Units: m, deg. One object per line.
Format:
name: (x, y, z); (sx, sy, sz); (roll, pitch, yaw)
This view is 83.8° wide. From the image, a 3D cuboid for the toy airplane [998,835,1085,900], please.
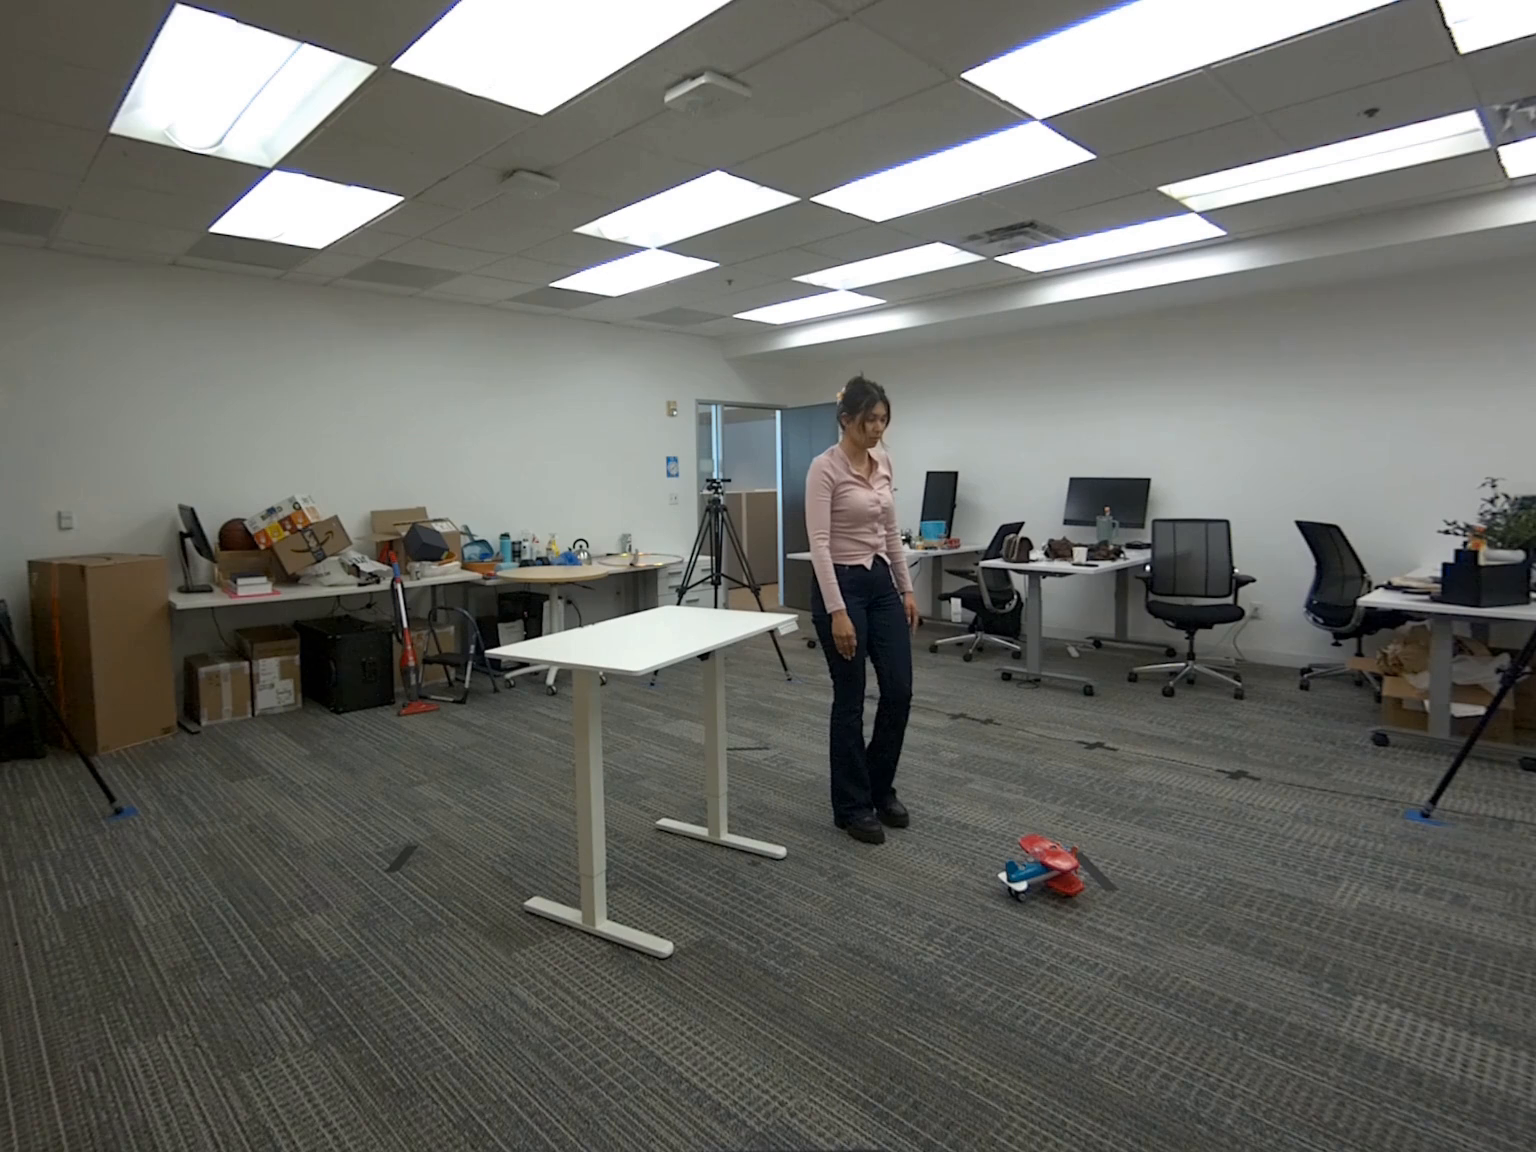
toy airplane: (0.916, 0.988, 2.823); (0.259, 0.156, 0.252); (4, 6, 44)
